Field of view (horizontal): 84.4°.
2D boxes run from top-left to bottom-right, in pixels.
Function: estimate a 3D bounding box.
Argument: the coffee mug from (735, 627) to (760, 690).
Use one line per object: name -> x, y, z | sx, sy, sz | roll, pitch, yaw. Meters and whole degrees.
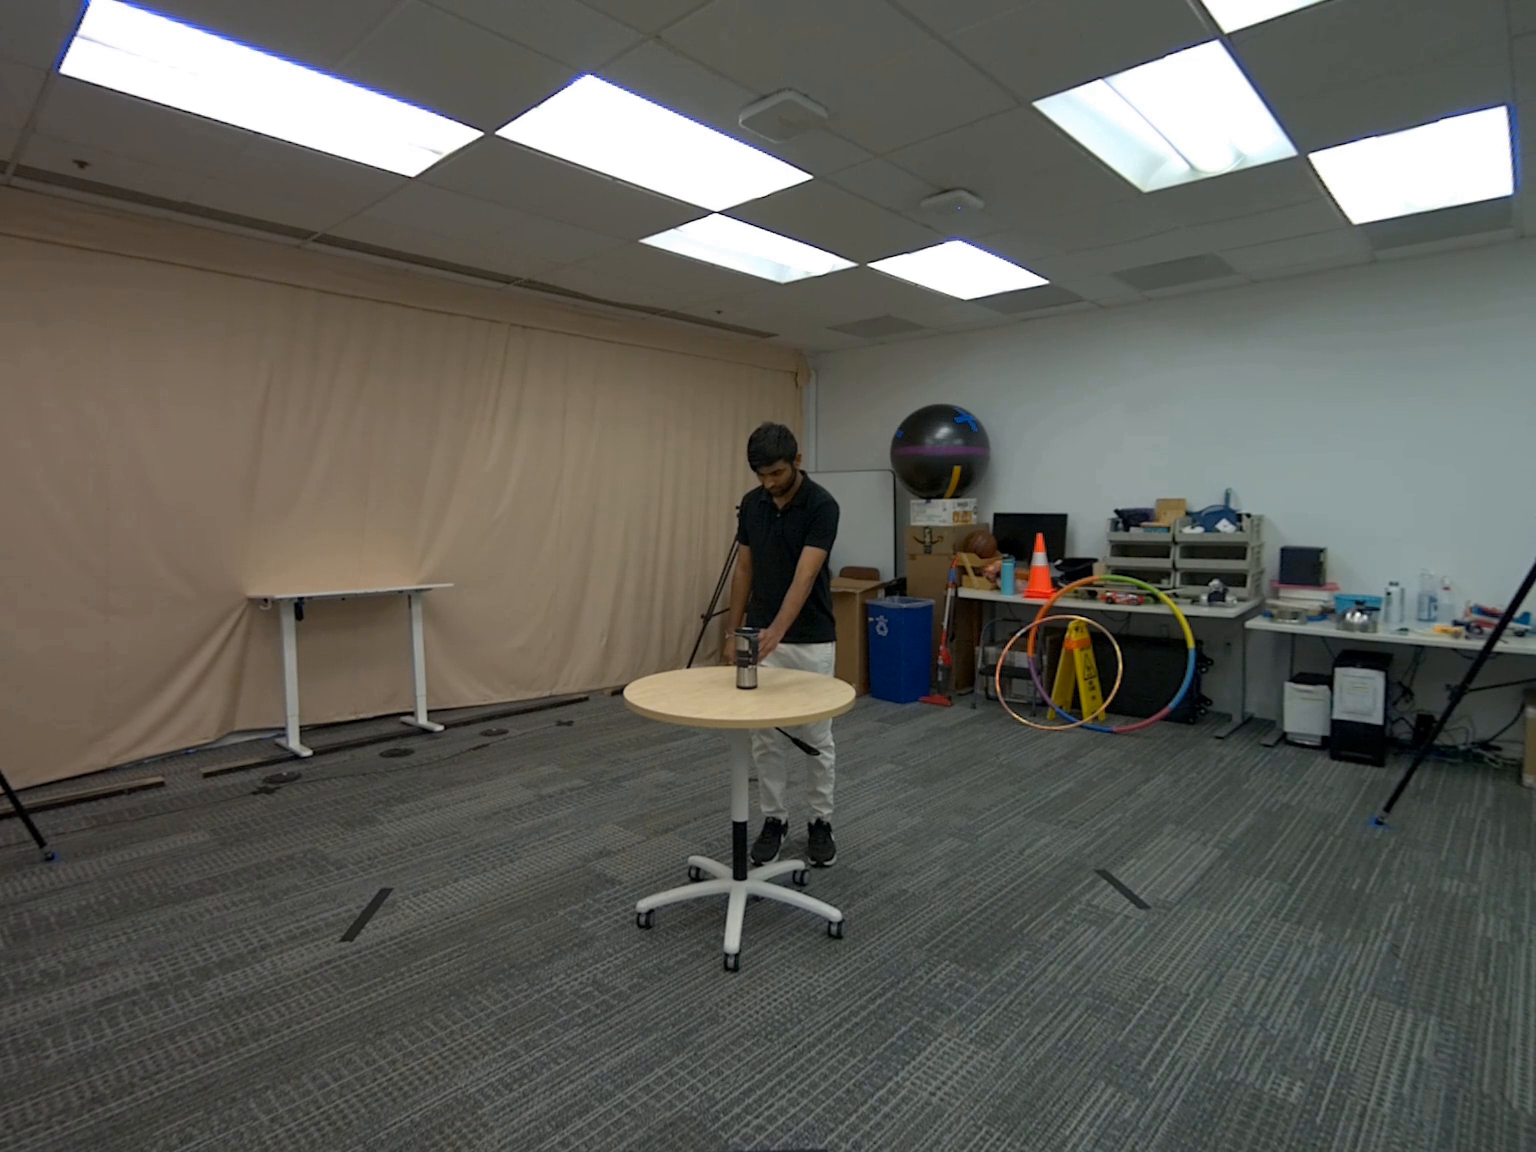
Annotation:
coffee mug -> -0.073, 0.277, 2.810 | 0.088, 0.203, 0.121 | 3, 1, 6
